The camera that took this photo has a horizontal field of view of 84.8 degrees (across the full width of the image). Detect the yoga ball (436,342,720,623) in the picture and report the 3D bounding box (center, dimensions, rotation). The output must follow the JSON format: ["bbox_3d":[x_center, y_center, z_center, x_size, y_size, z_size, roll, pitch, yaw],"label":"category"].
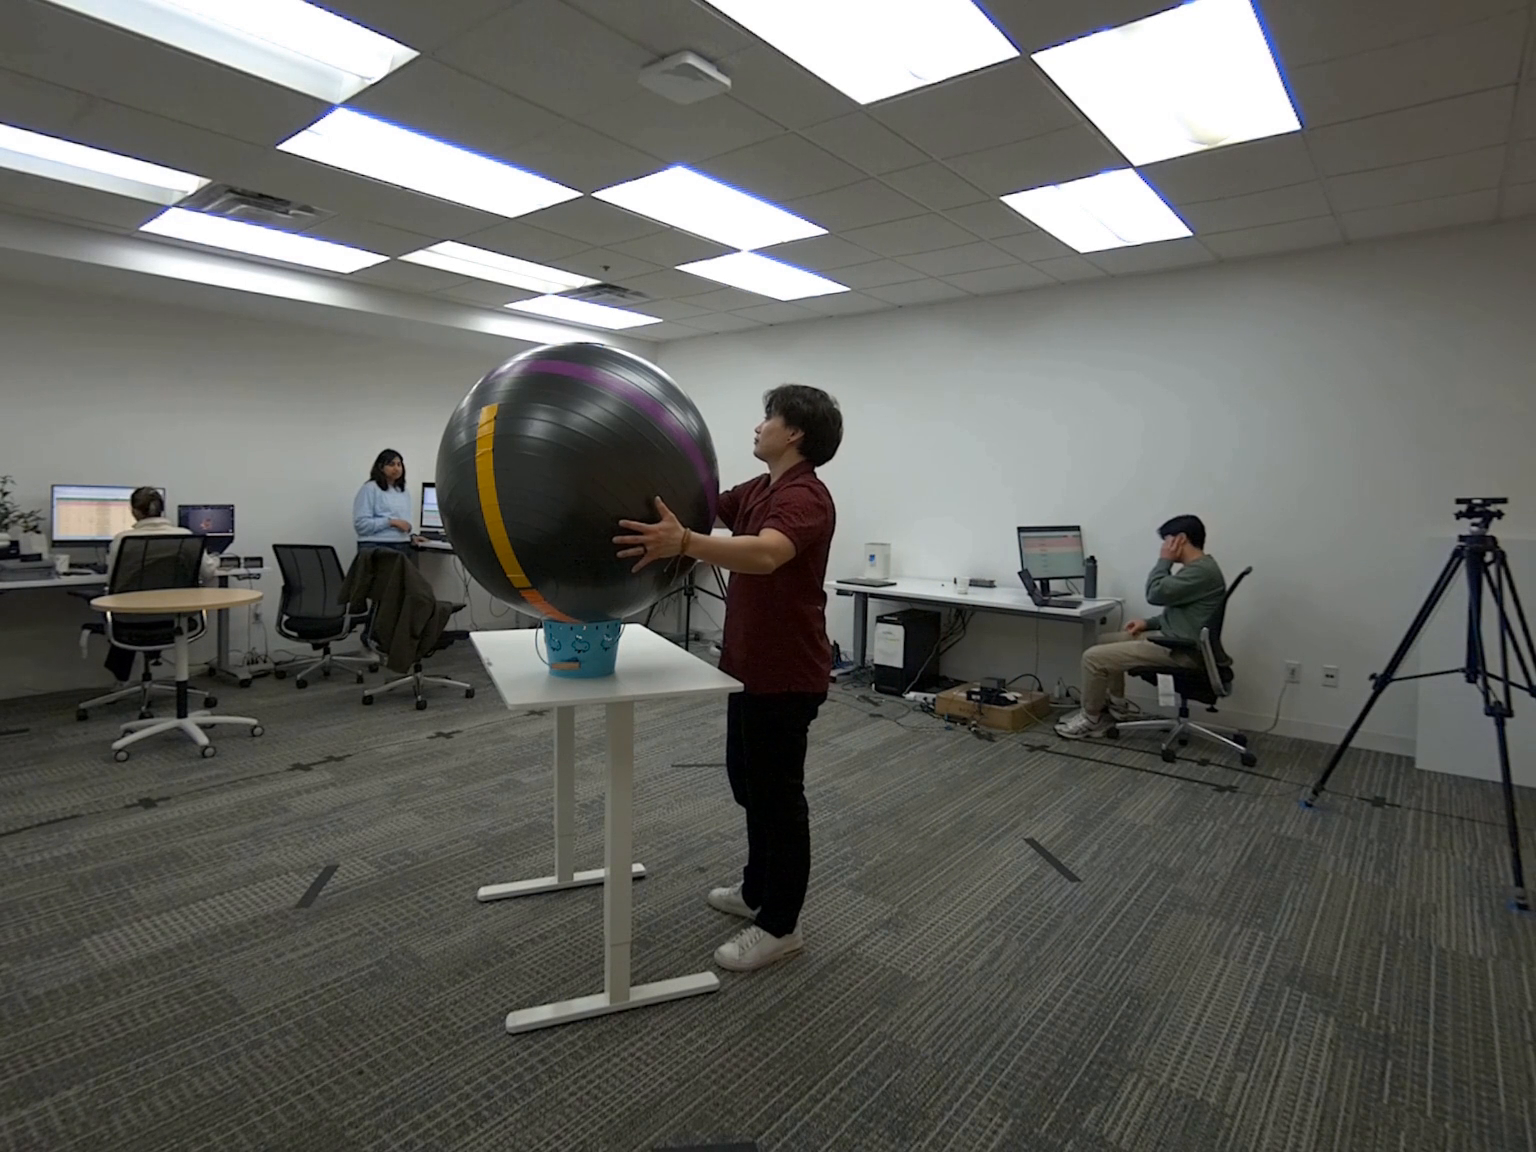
[{"bbox_3d":[-0.521,-0.243,2.305,0.757,0.756,0.762,1,4,-2],"label":"yoga ball"}]
